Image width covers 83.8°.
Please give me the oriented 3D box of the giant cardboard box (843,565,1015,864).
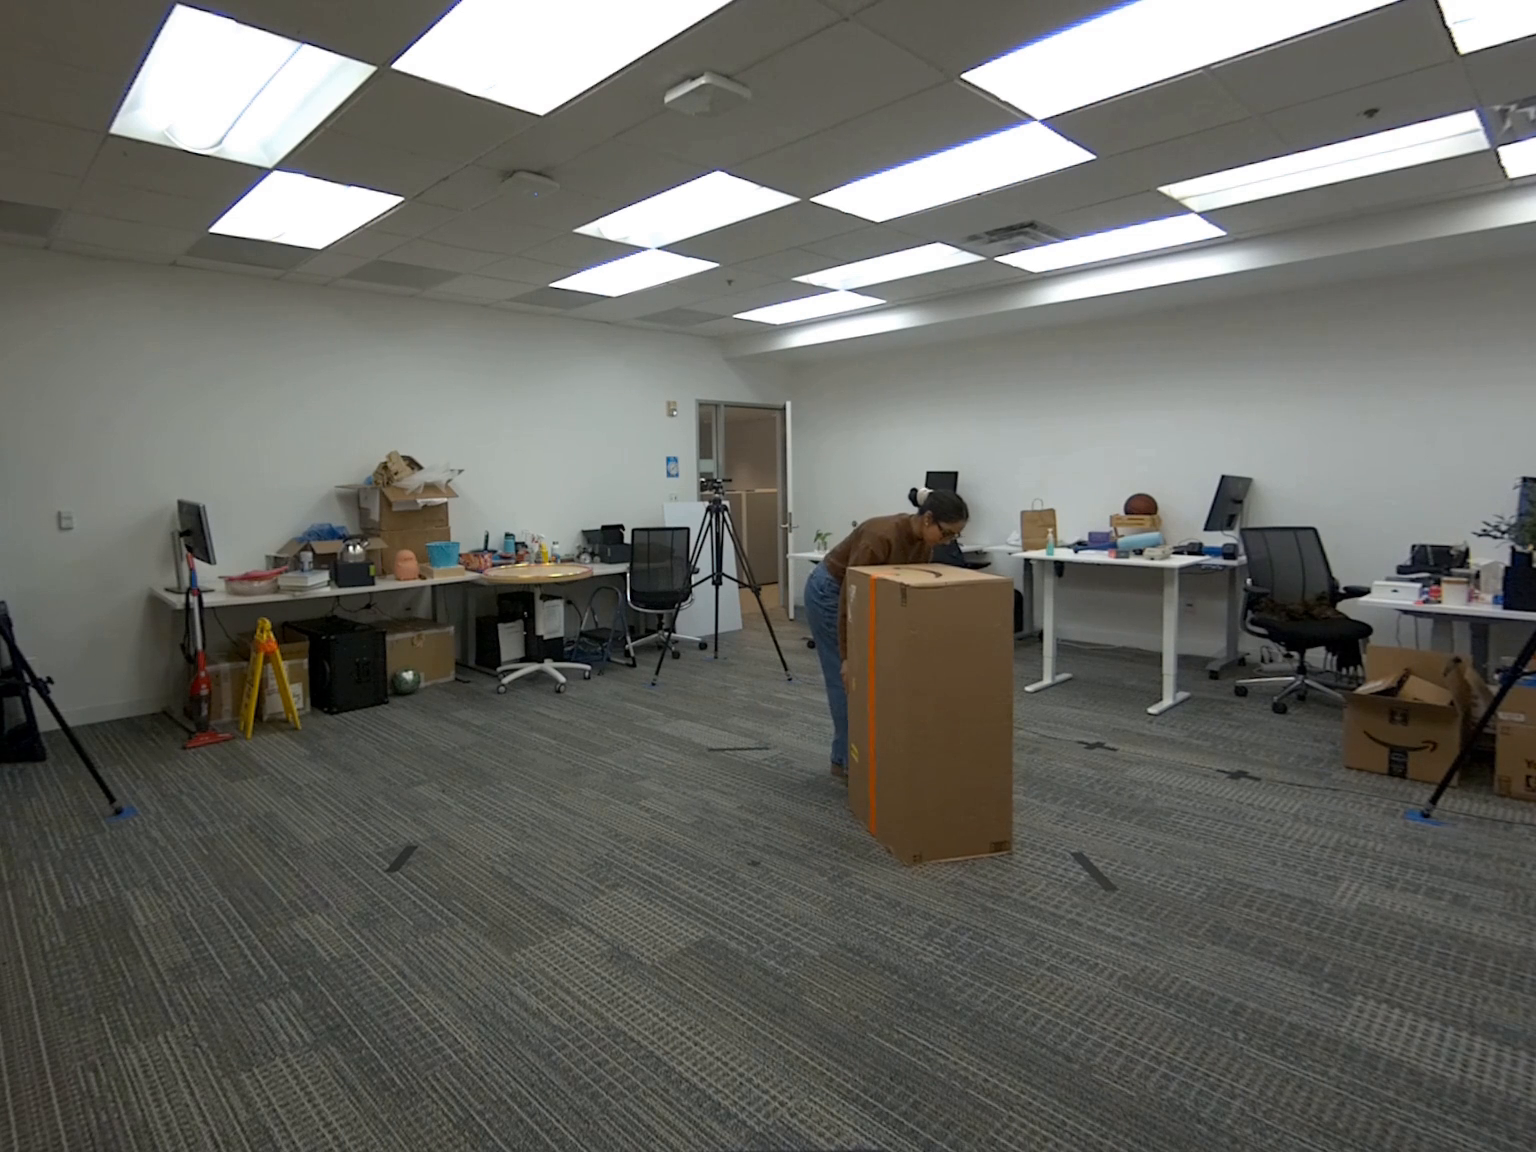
[{"bbox_3d":[0.612,0.502,3.335,0.420,1.021,0.588,-2,5,-16],"label":"giant cardboard box"}]
